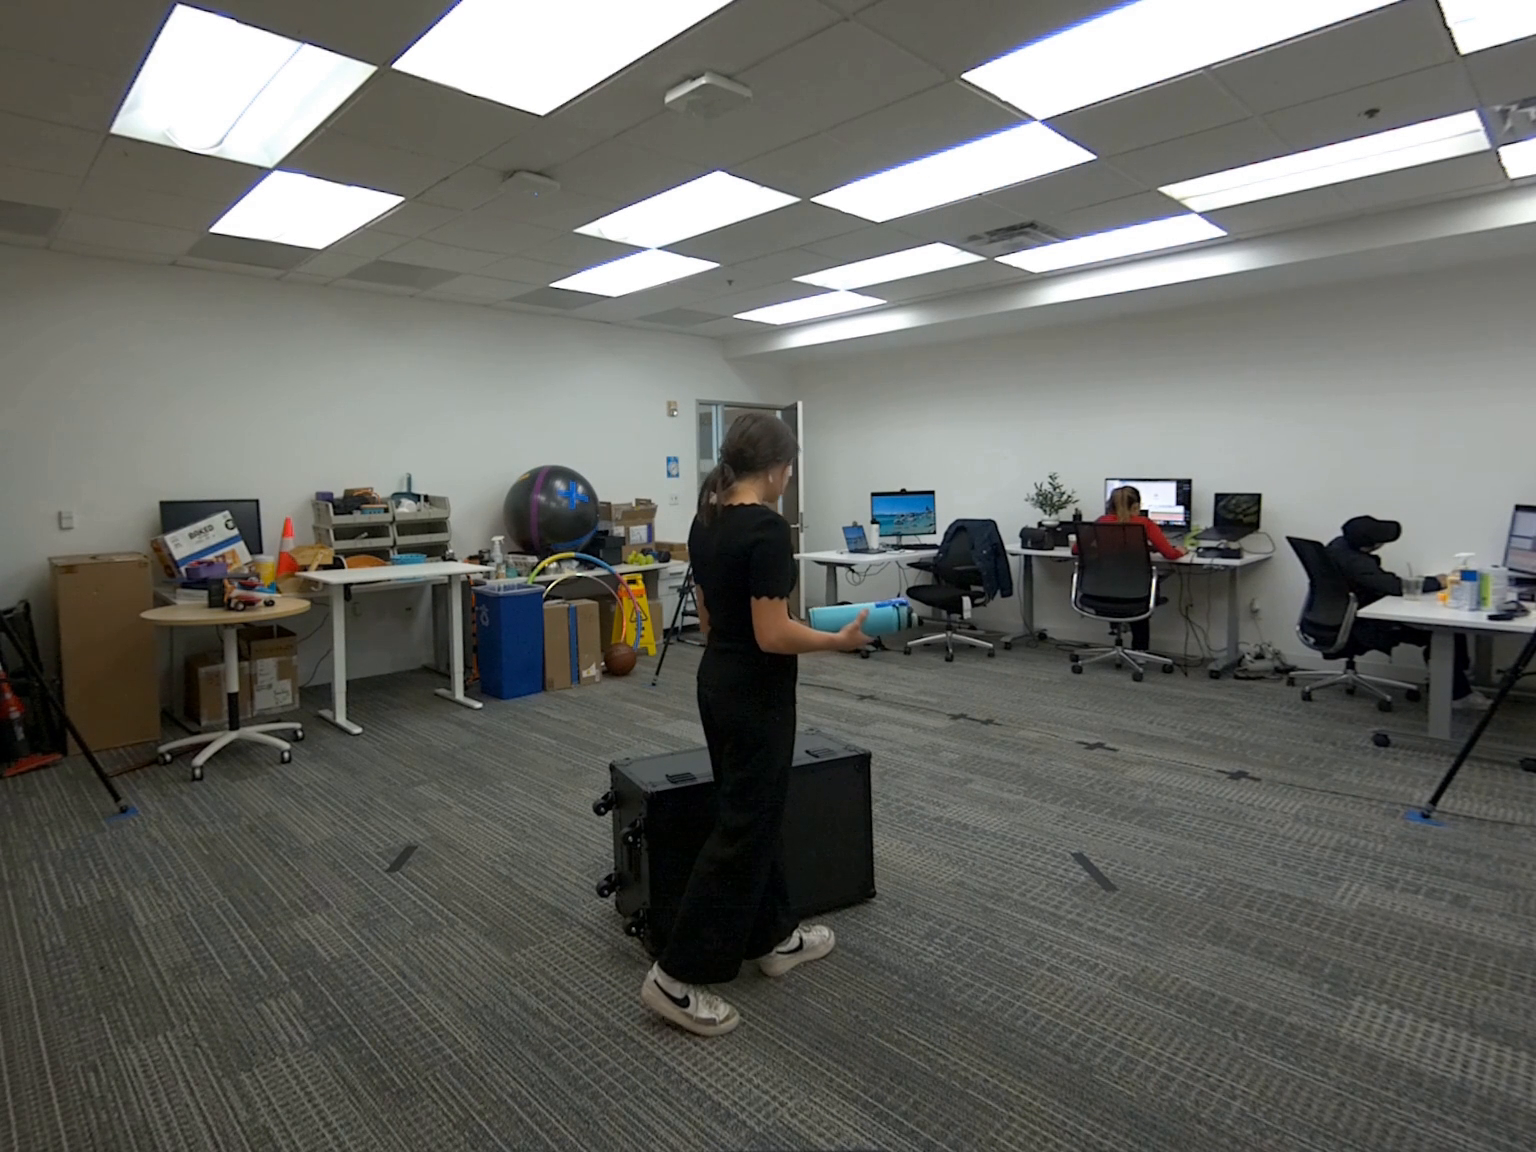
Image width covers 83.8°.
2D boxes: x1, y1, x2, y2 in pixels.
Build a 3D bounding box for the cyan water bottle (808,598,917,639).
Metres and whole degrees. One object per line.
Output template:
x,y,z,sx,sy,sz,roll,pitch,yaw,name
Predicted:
0.253,0.119,2.276,0.284,0.092,0.092,-6,4,4,cyan water bottle
